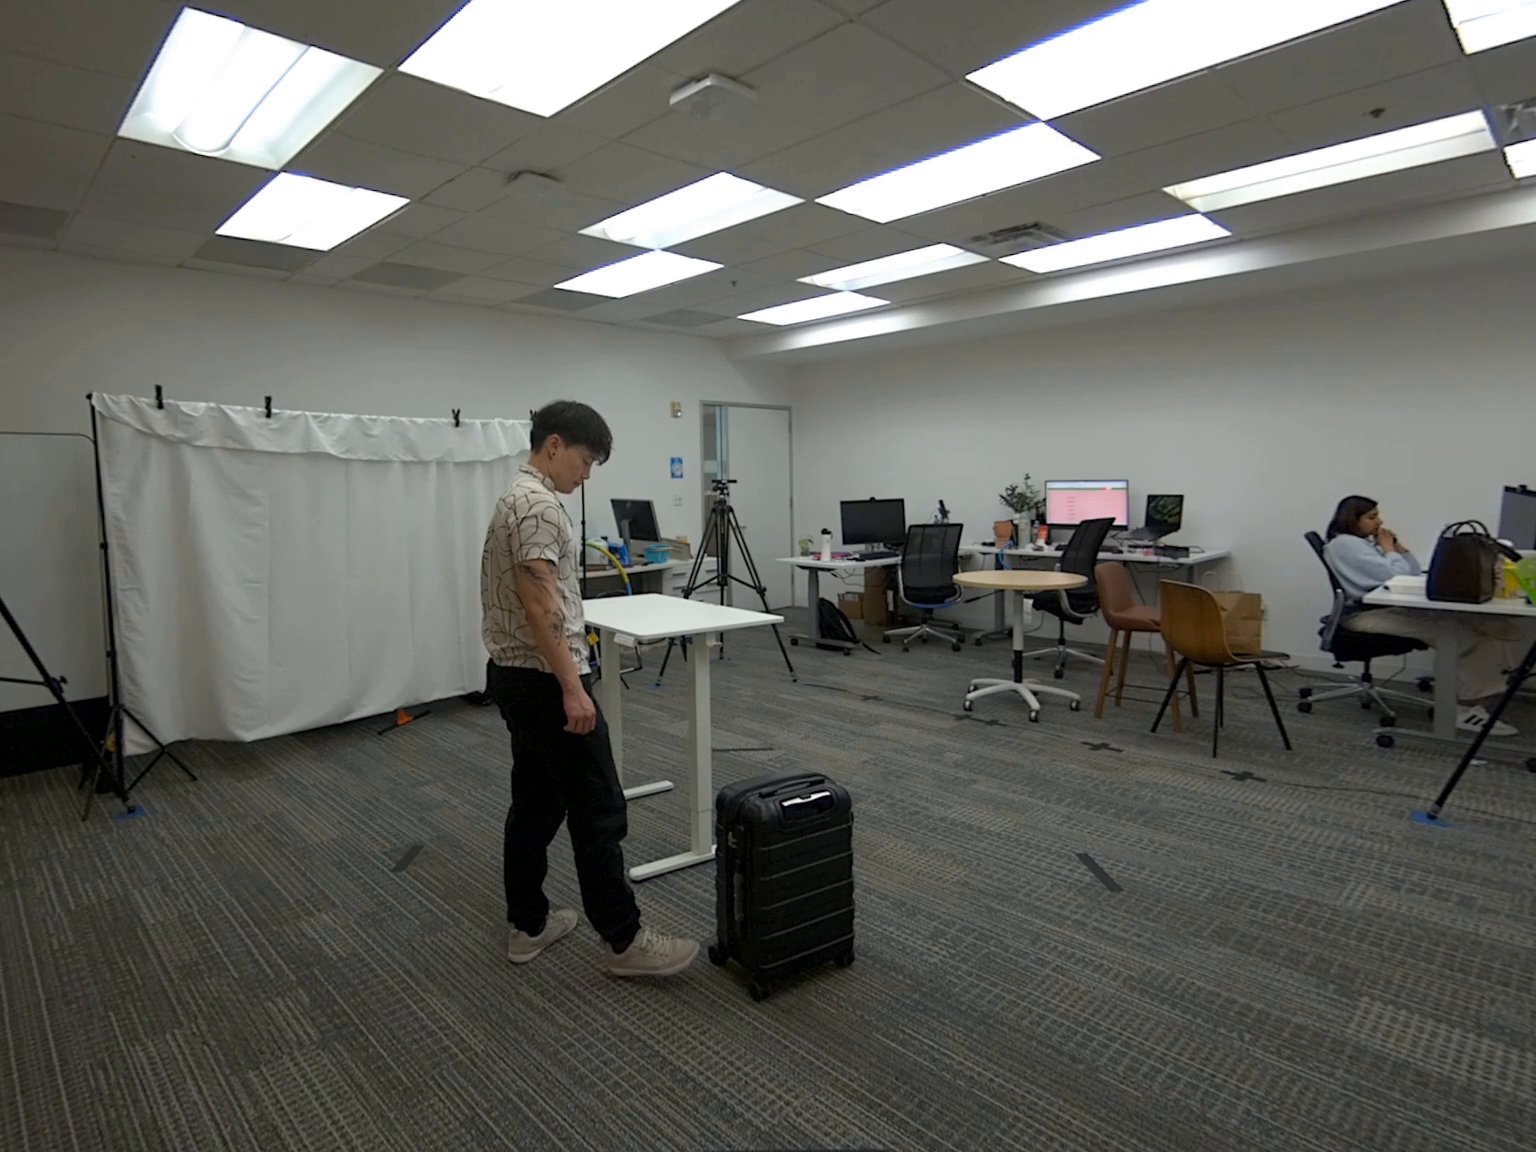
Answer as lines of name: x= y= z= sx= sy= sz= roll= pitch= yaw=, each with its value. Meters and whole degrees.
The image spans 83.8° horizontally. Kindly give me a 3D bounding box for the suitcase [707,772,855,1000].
suitcase: x=0.056 y=0.847 z=2.436 sx=0.366 sy=0.547 sz=0.256 roll=-4 pitch=6 yaw=-35
